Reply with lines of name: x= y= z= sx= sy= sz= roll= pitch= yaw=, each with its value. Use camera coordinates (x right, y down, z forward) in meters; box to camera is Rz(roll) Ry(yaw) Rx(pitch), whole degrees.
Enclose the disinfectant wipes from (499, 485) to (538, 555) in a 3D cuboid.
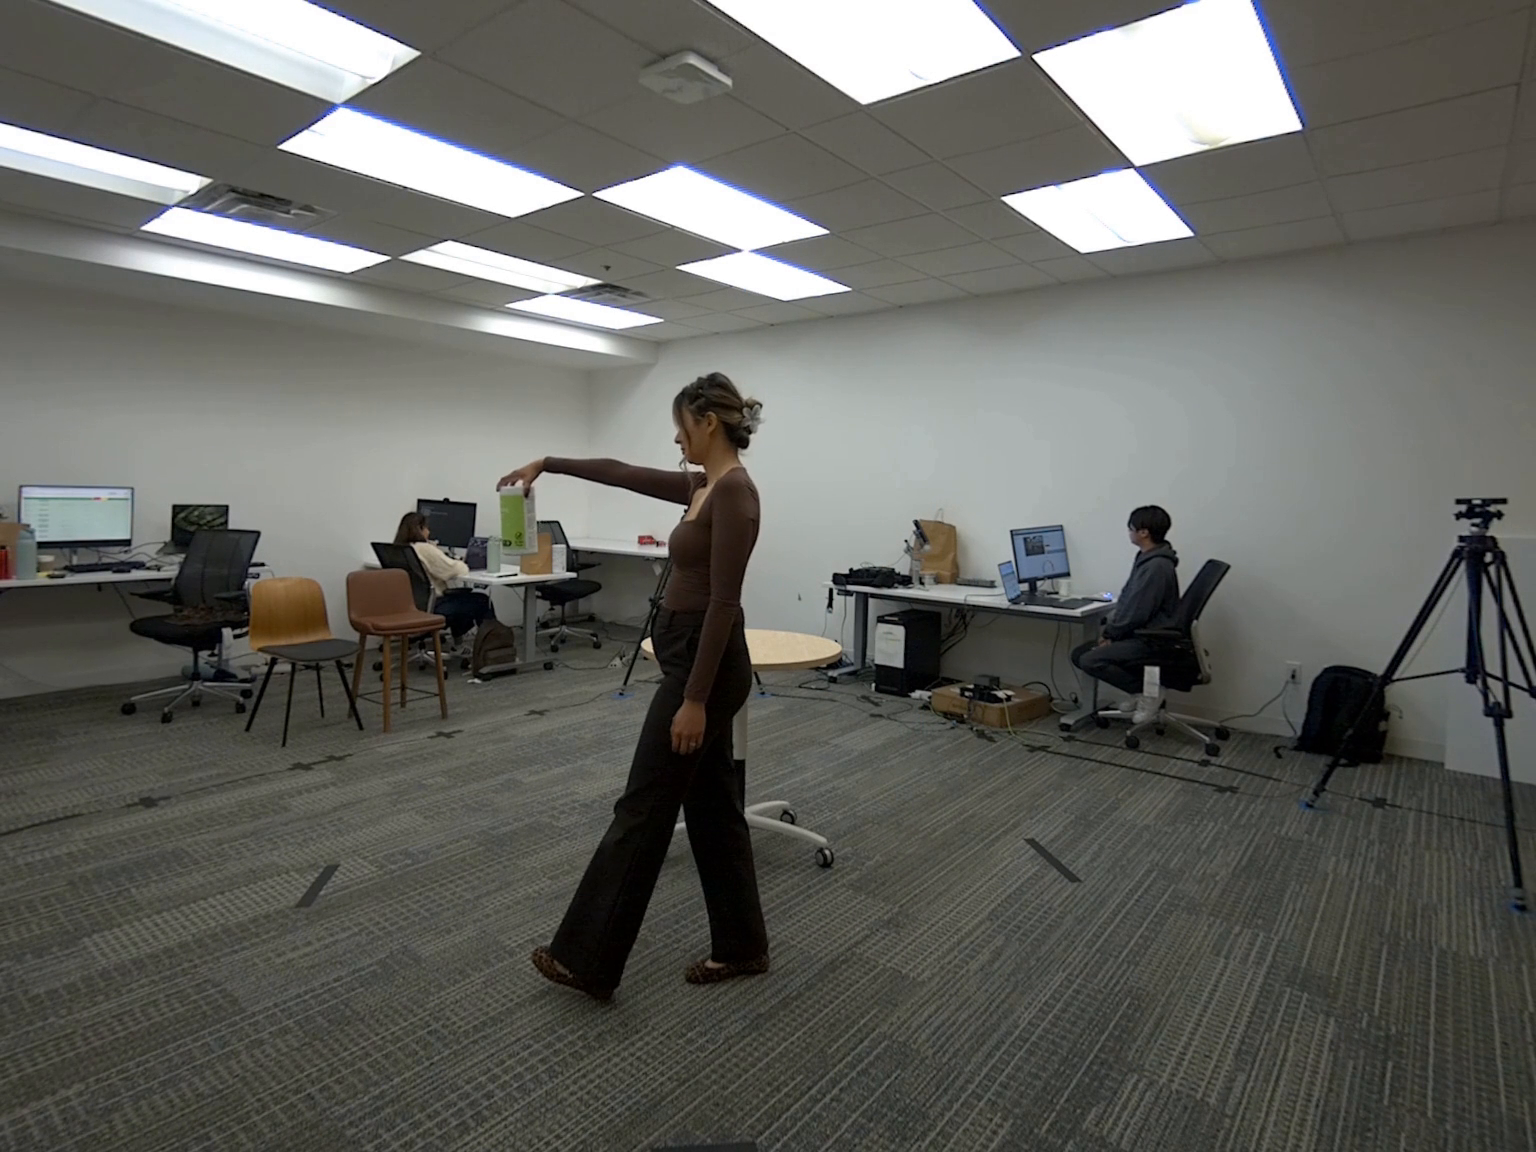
disinfectant wipes: x=-0.802 y=-0.179 z=2.663 sx=0.118 sy=0.217 sz=0.118 roll=-3 pitch=4 yaw=-2
